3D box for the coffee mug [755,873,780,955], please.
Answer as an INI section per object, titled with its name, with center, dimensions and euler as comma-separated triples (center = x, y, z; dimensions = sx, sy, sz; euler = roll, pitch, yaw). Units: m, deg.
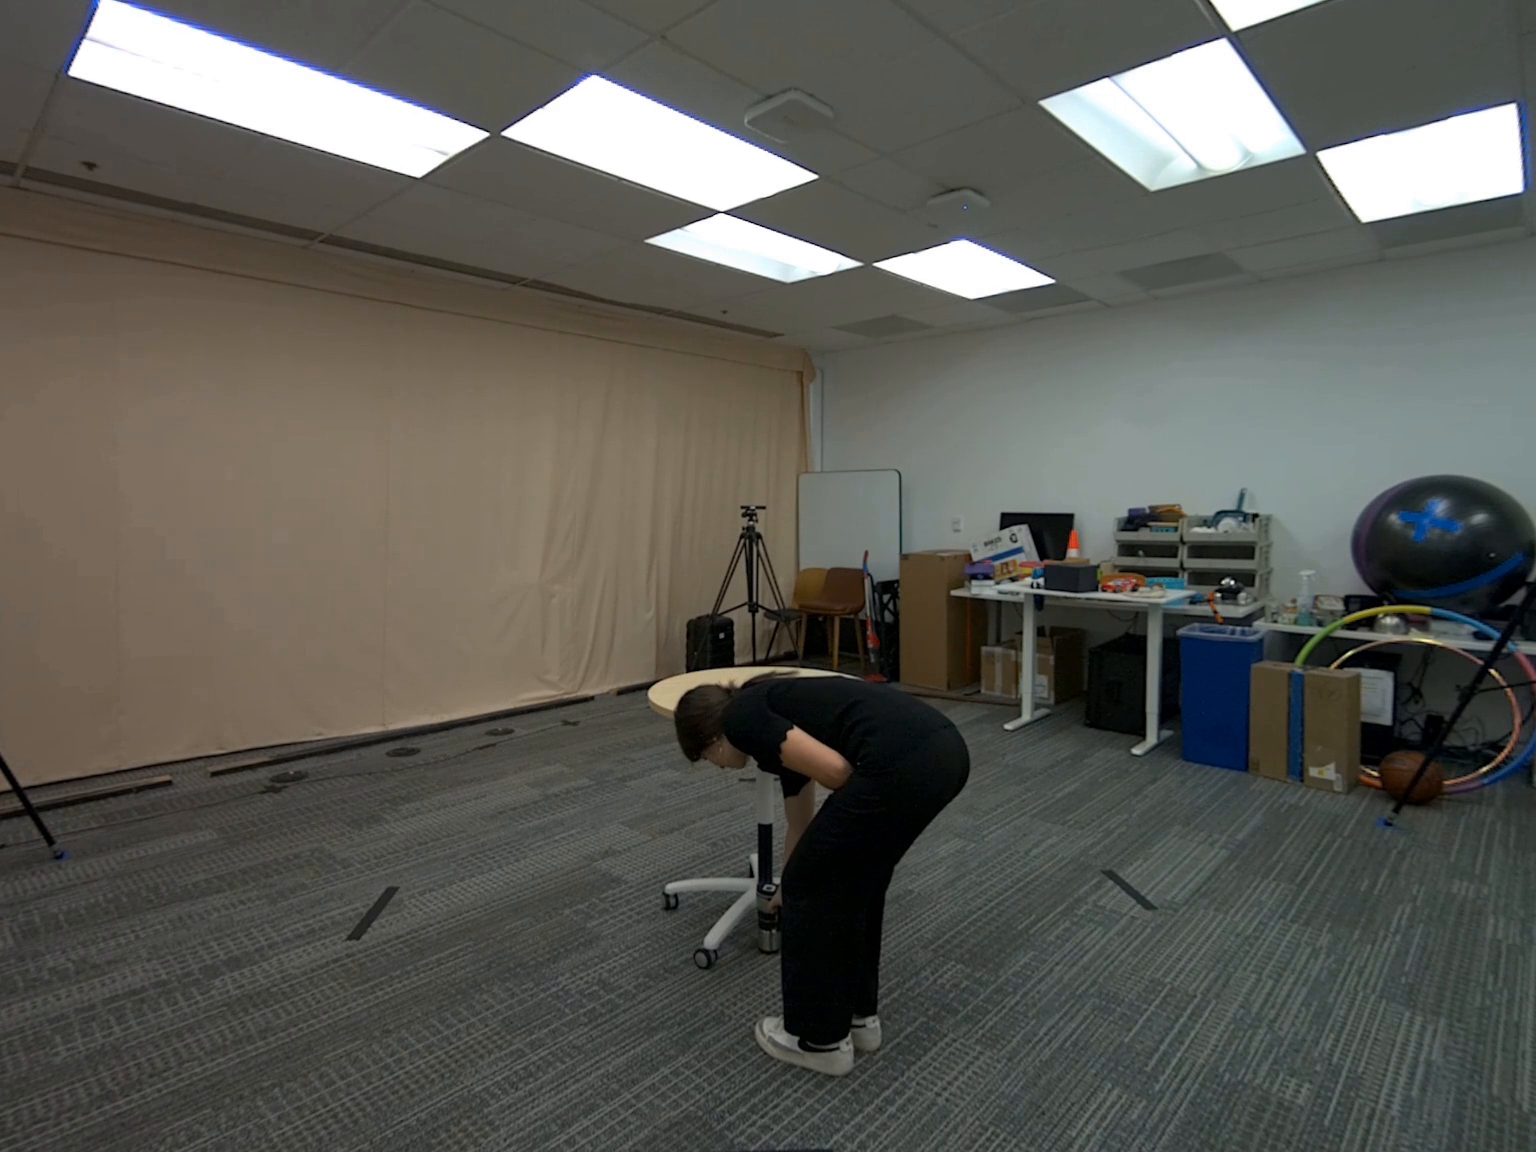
[coffee mug]
center = 0.011, 1.073, 2.625
dimensions = 0.087, 0.203, 0.122
euler = 5, -3, -7
